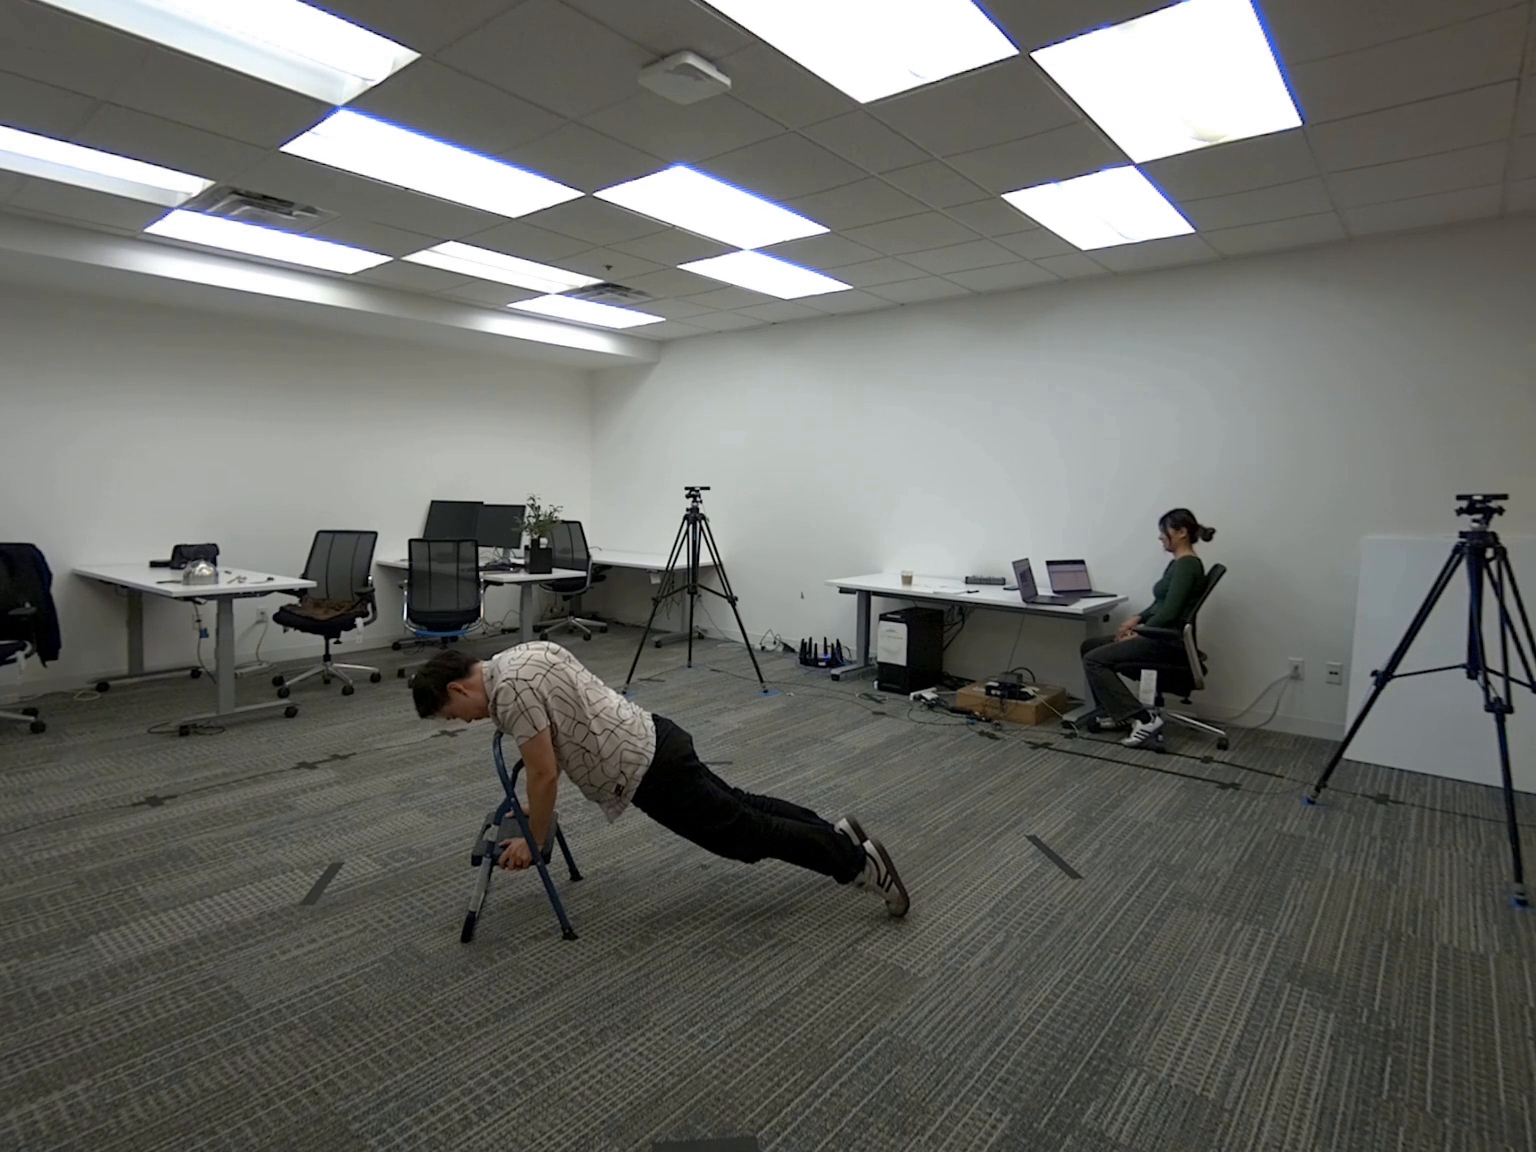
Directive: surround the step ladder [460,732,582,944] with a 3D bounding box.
[{"bbox_3d":[-0.805,0.794,2.783,0.346,0.604,0.436,0,3,-10],"label":"step ladder"}]
